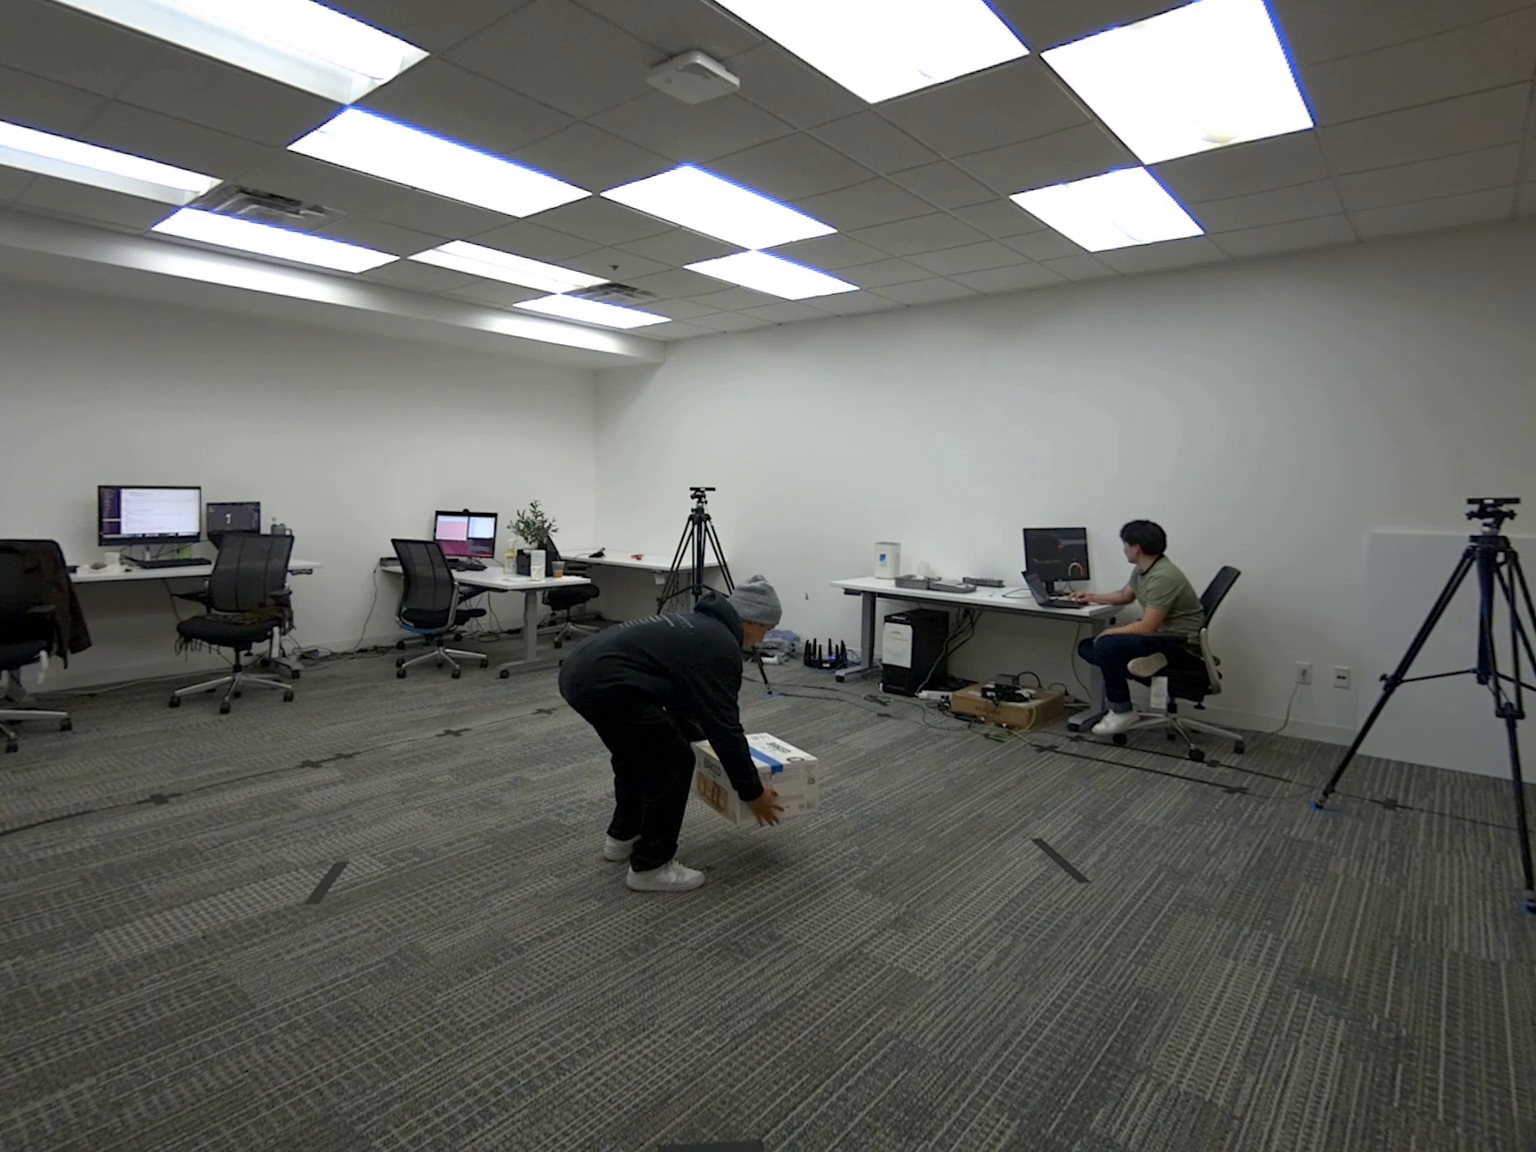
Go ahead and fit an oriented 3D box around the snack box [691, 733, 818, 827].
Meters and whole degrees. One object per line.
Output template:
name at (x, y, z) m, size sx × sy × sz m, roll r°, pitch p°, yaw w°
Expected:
snack box at (-0.066, 0.767, 3.236) m, size 0.332 × 0.205 × 0.416 m, roll -1°, pitch 4°, yaw -27°
